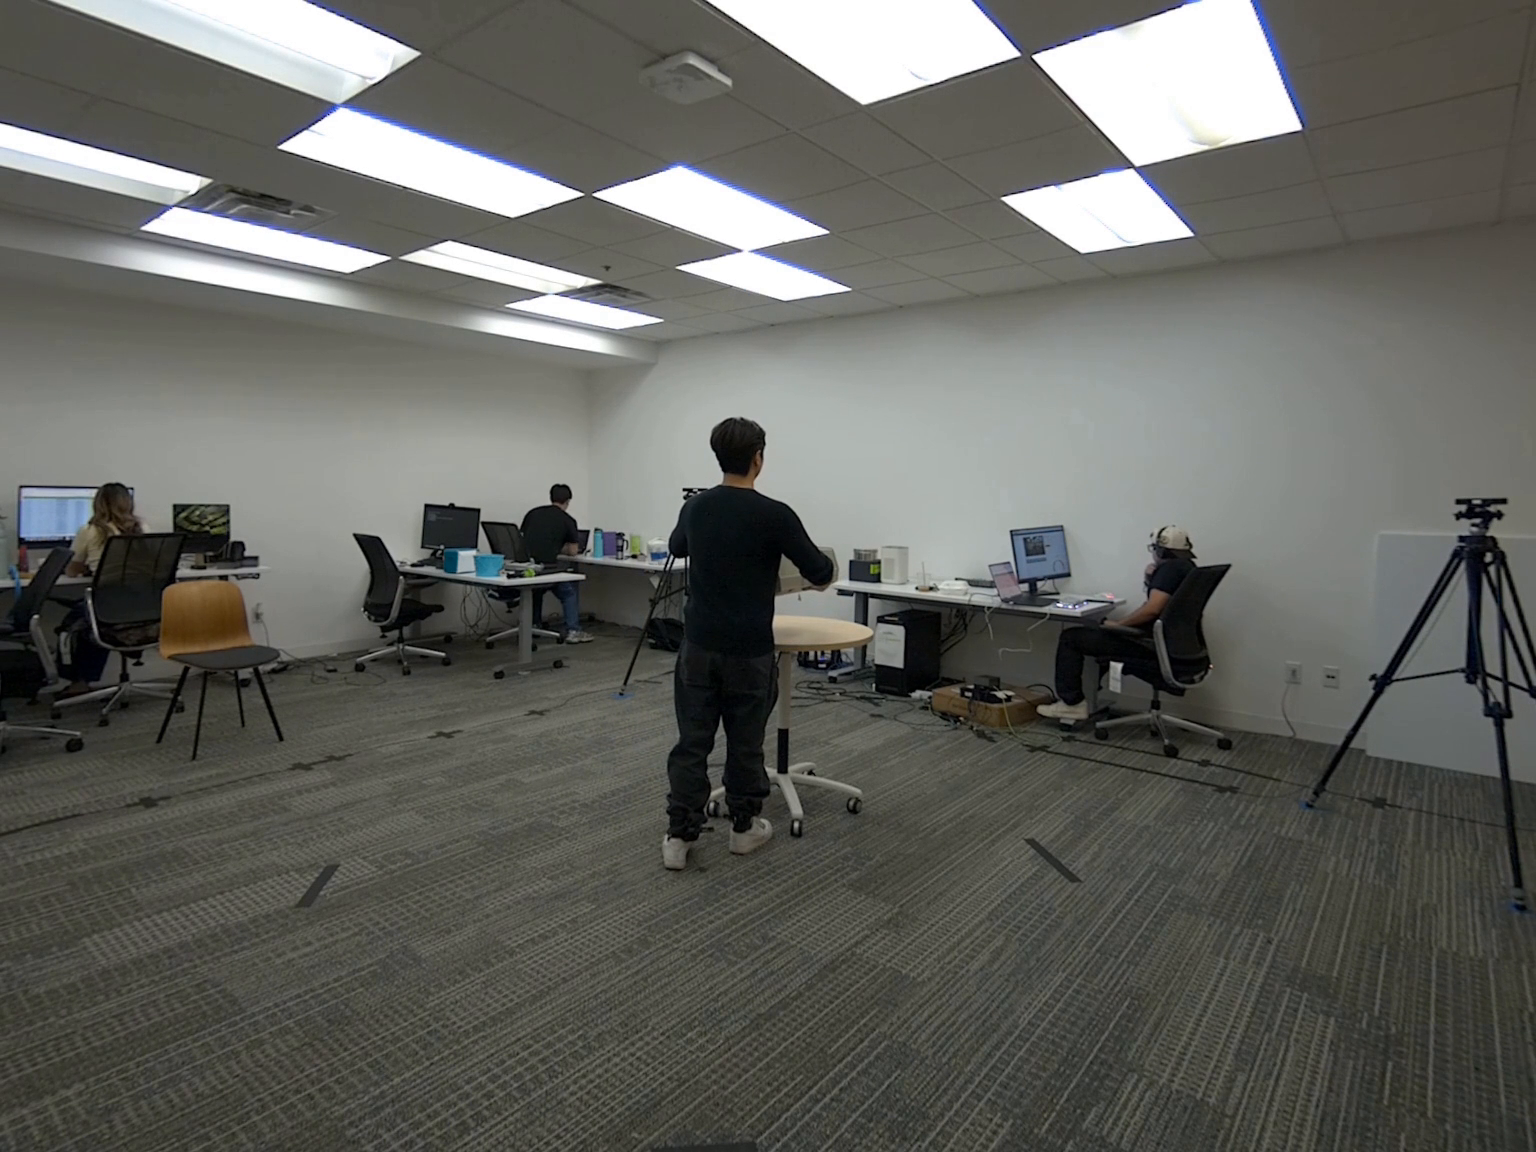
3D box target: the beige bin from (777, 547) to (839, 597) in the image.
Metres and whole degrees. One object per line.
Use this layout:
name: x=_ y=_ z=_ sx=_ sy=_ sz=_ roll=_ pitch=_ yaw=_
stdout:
beige bin: x=0.020 y=-0.029 z=3.615 sx=0.390 sy=0.188 sz=0.411 roll=5 pitch=9 yaw=40
